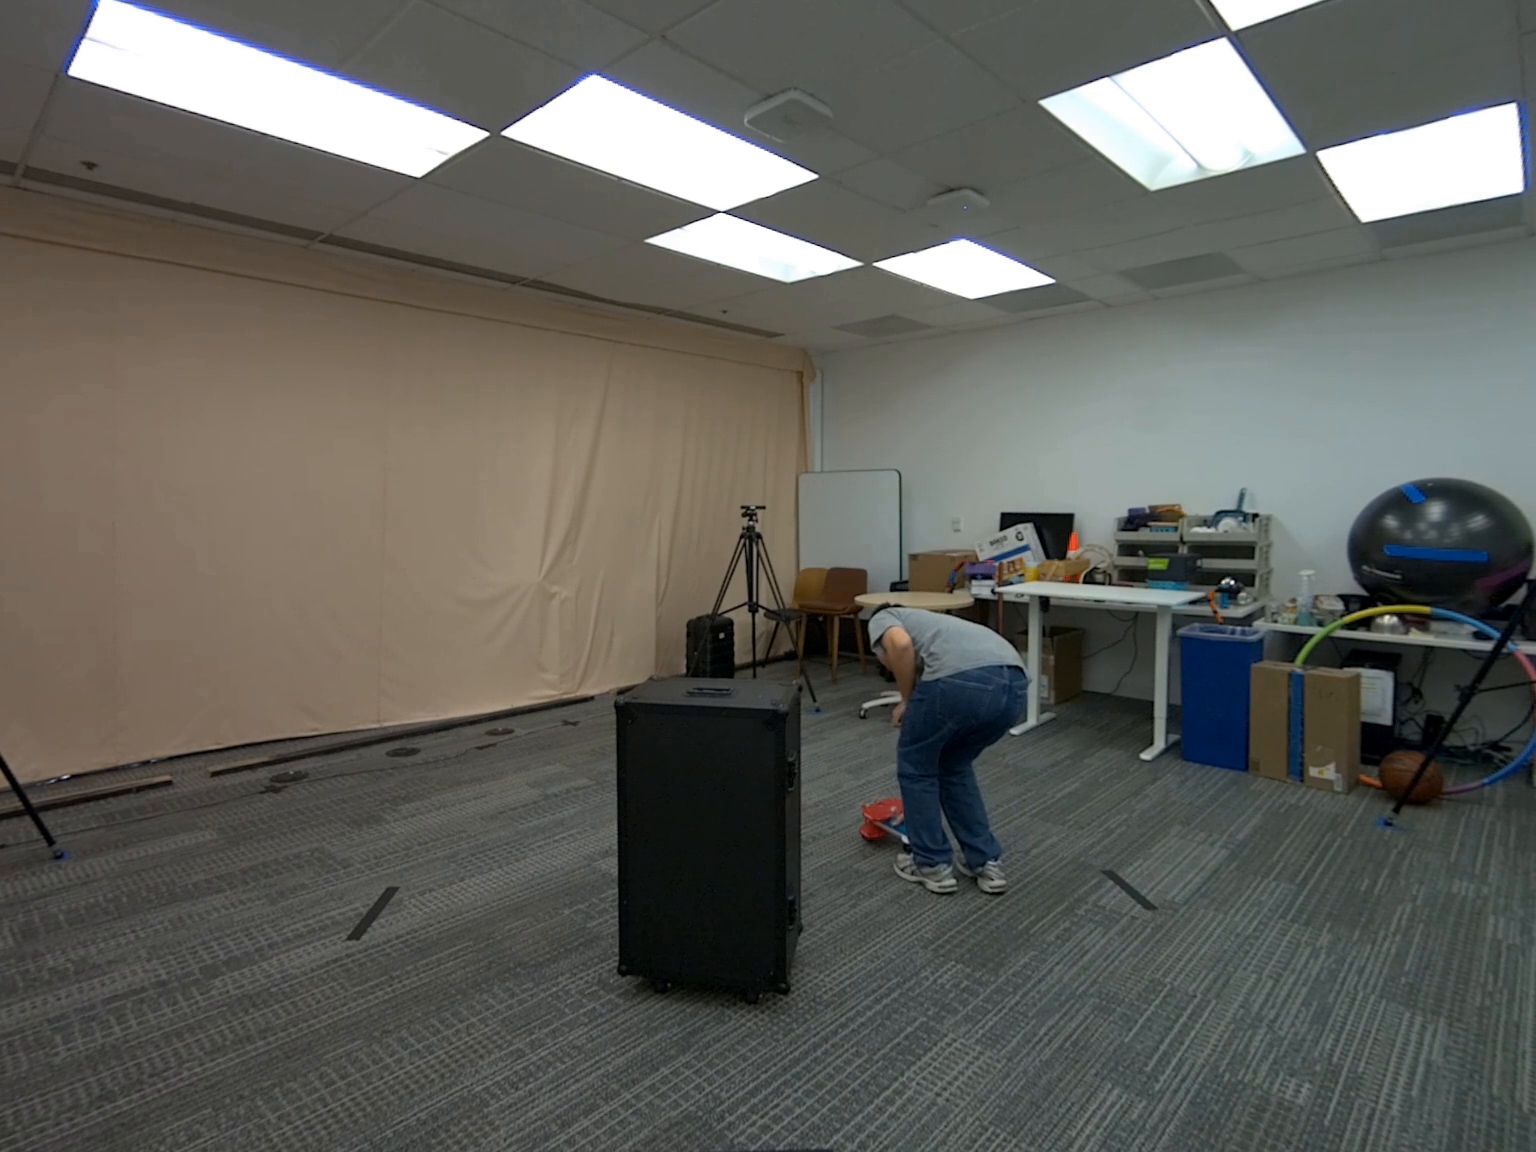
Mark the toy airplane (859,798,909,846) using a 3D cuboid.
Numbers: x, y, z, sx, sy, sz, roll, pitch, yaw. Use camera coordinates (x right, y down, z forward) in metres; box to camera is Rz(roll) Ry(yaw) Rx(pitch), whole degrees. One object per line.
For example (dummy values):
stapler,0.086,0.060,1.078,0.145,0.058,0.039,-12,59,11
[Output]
toy airplane,0.522,1.028,3.480,0.264,0.156,0.247,0,4,16
